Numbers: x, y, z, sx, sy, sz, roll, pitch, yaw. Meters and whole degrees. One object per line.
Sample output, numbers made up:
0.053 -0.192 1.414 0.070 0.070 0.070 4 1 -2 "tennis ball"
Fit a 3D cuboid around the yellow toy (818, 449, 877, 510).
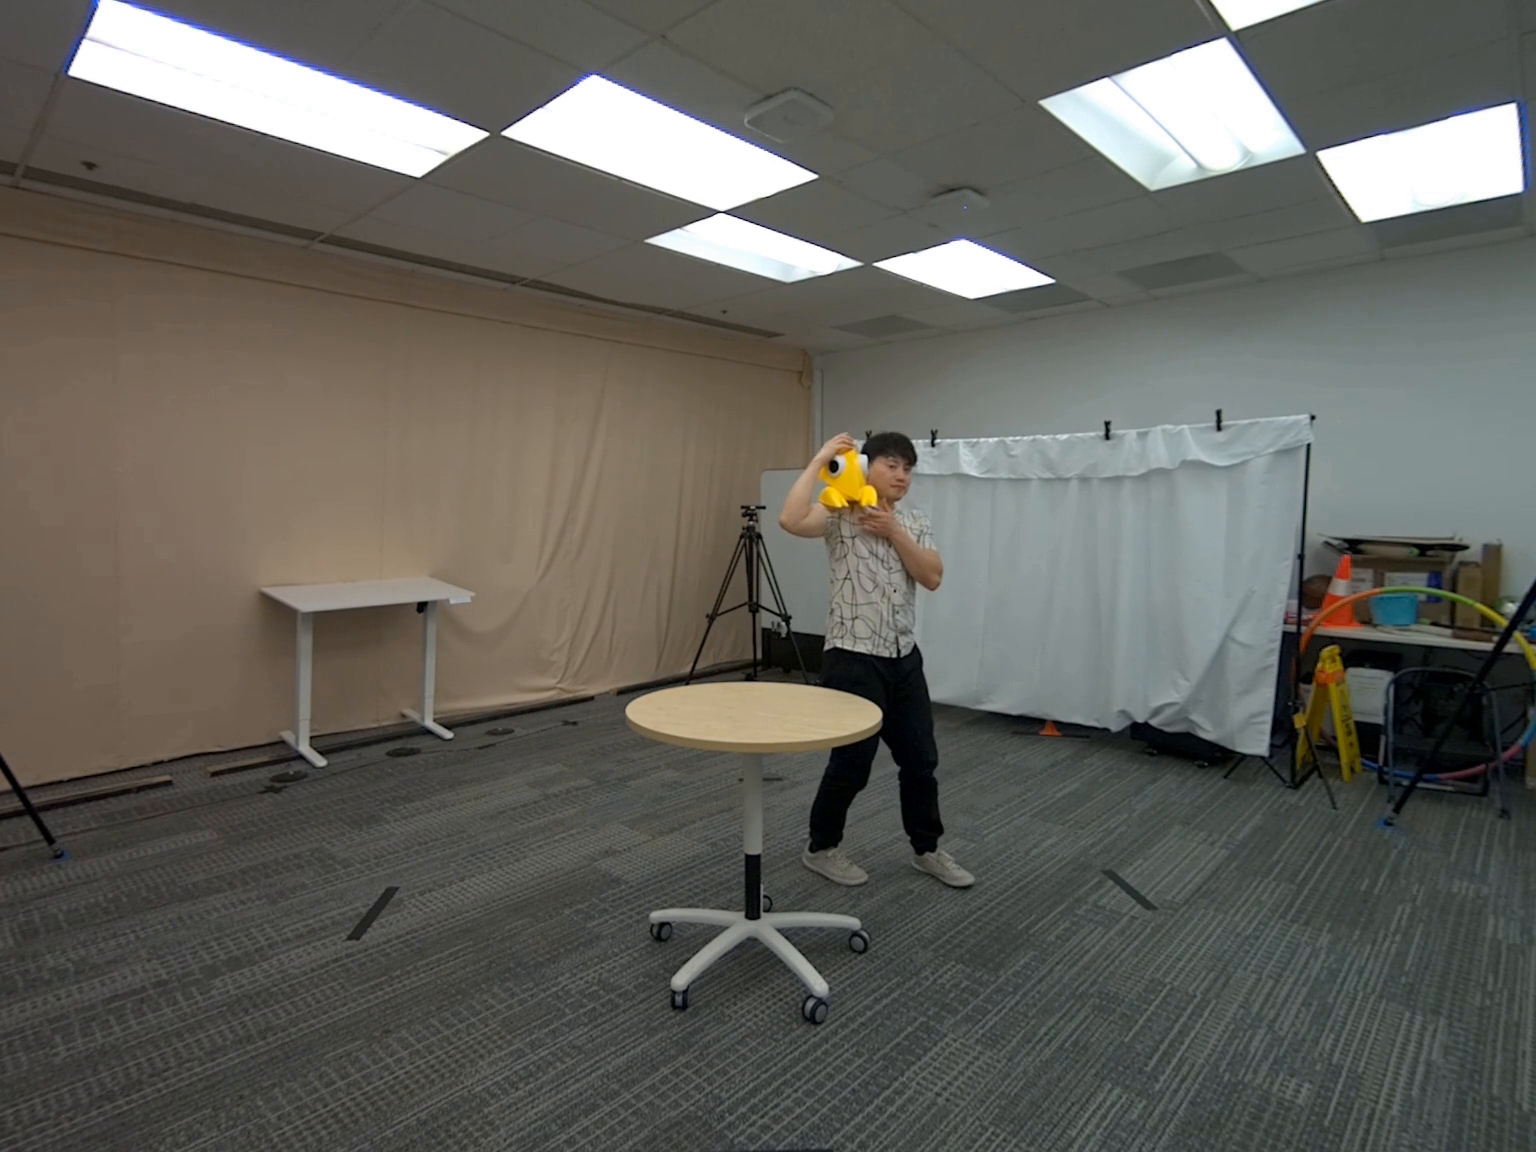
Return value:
0.295 -0.376 2.965 0.201 0.228 0.198 -3 17 -16 "yellow toy"
